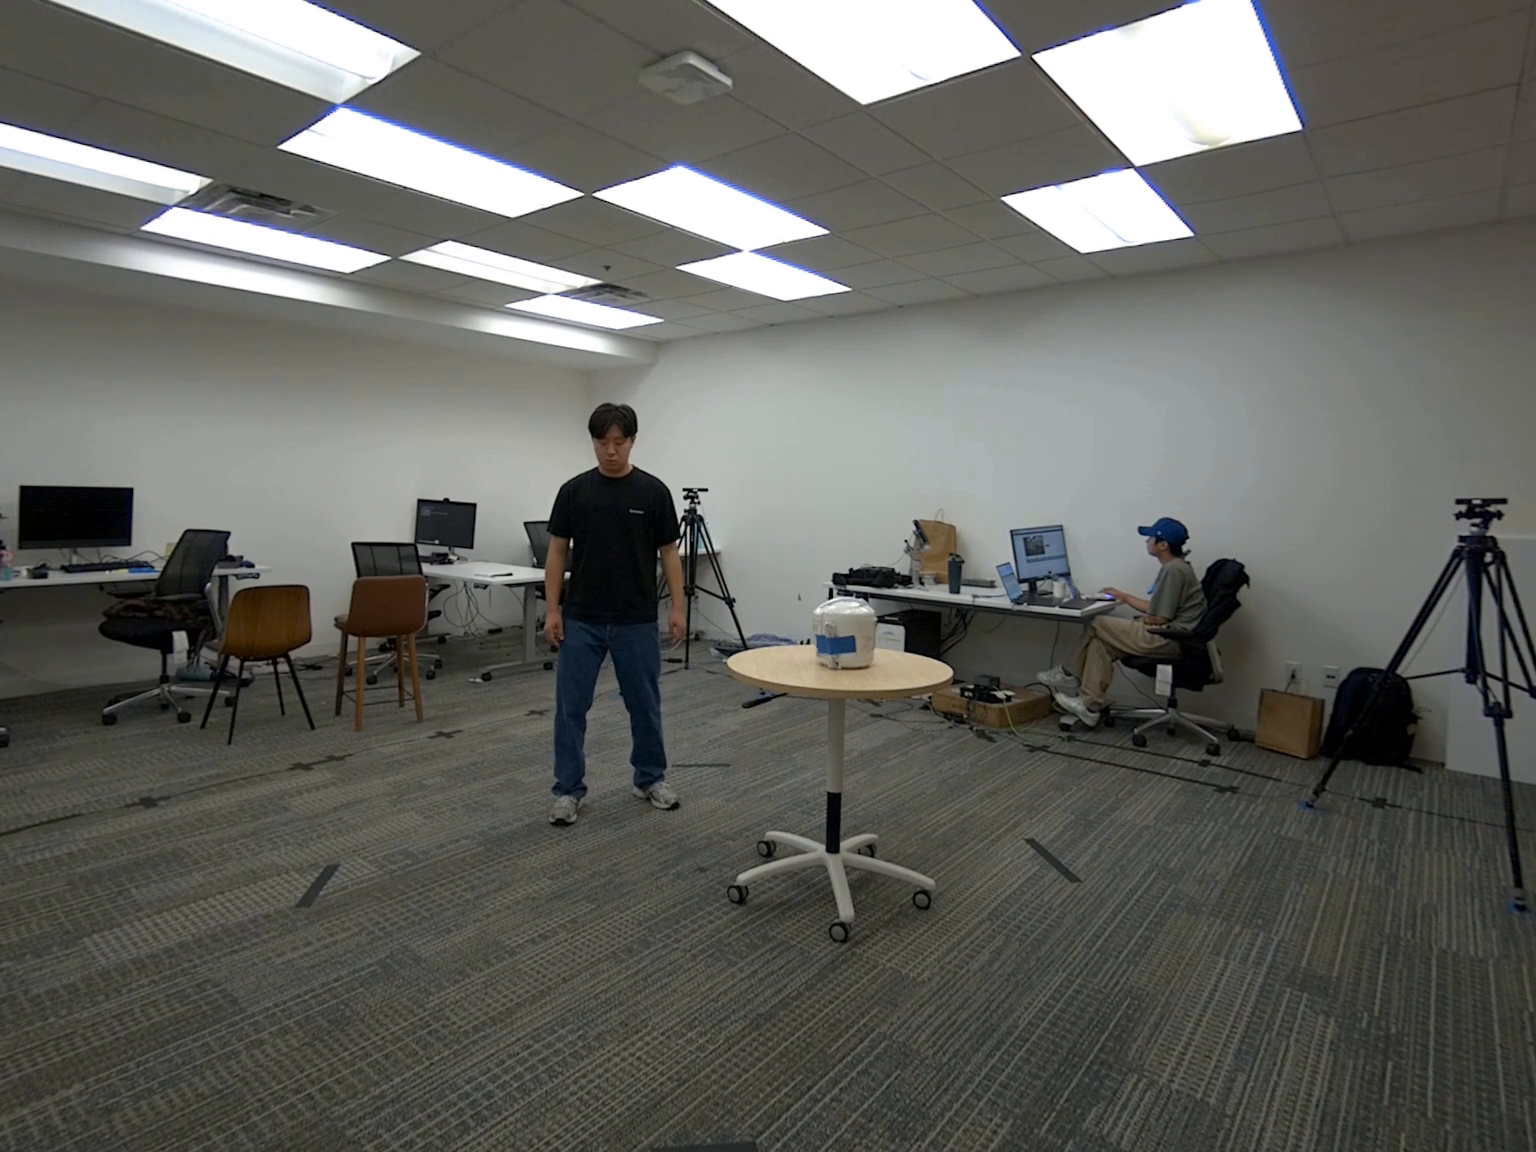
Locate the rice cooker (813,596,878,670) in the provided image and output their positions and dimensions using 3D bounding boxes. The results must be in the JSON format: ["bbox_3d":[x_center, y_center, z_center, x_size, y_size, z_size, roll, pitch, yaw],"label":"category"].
[{"bbox_3d":[0.256,0.187,2.934,0.217,0.232,0.222,1,4,-16],"label":"rice cooker"}]
